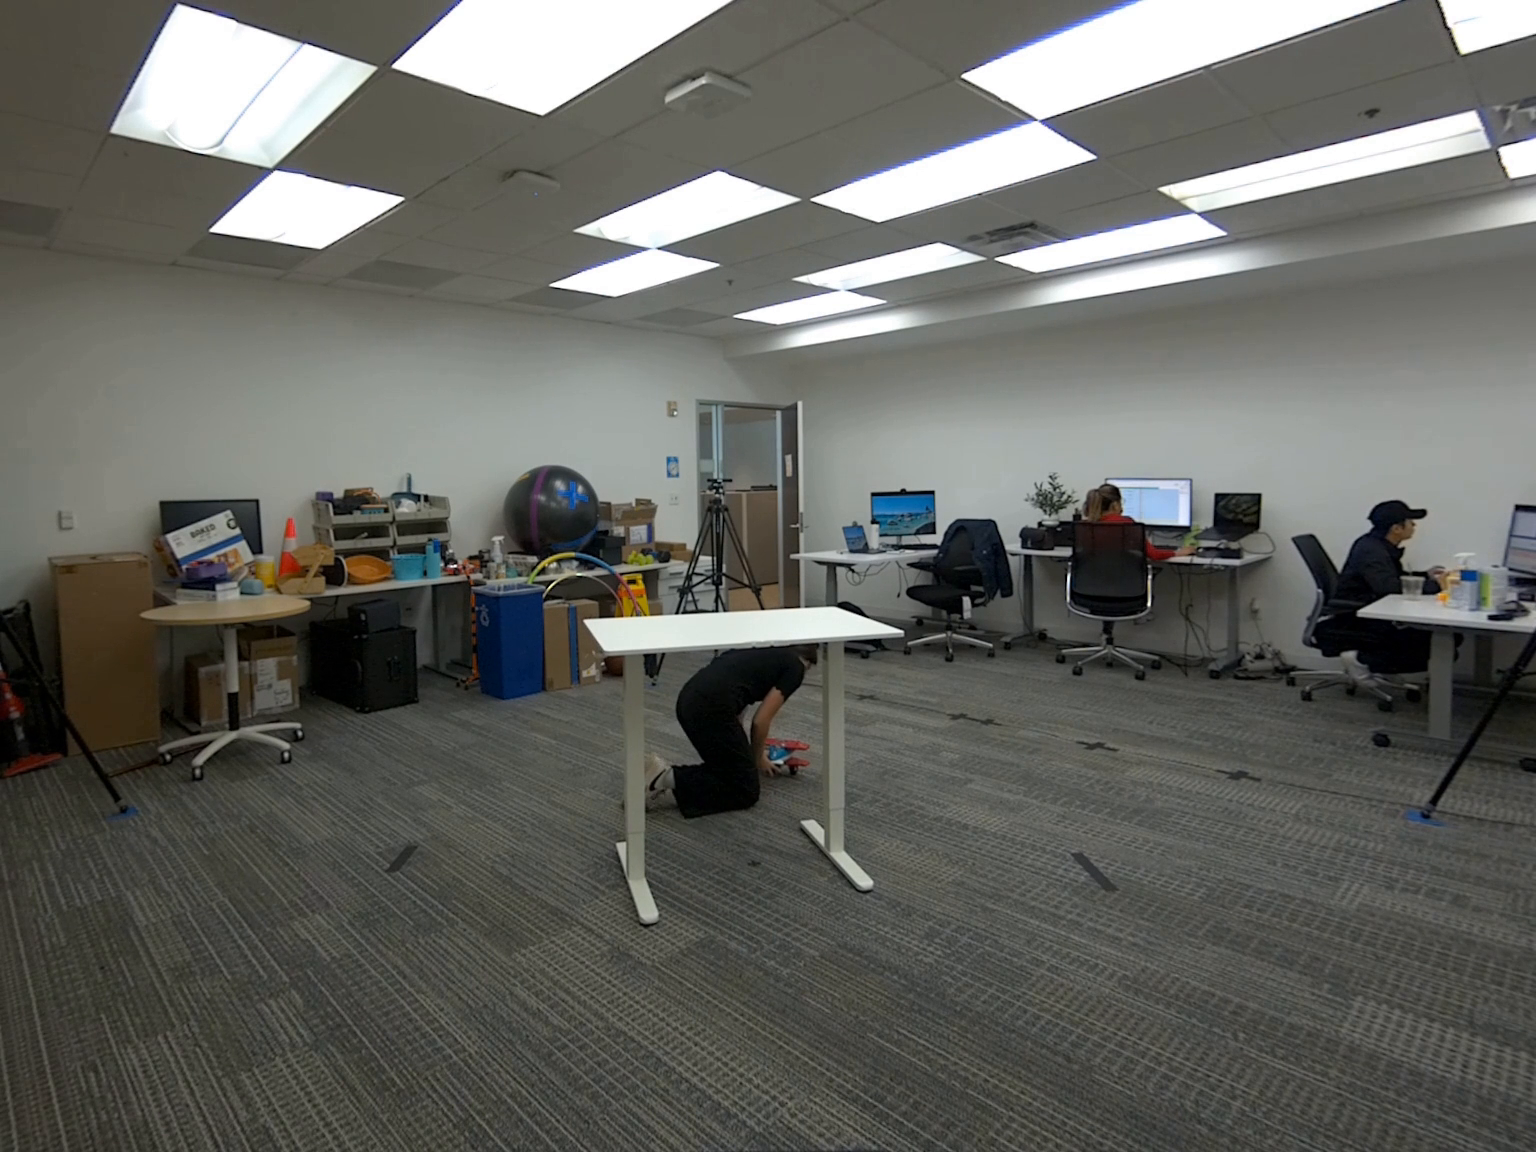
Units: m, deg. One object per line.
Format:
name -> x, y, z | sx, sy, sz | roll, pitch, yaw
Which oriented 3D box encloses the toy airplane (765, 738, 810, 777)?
toy airplane -> 0.075, 0.852, 4.001 | 0.250, 0.158, 0.258 | 7, -11, -4
